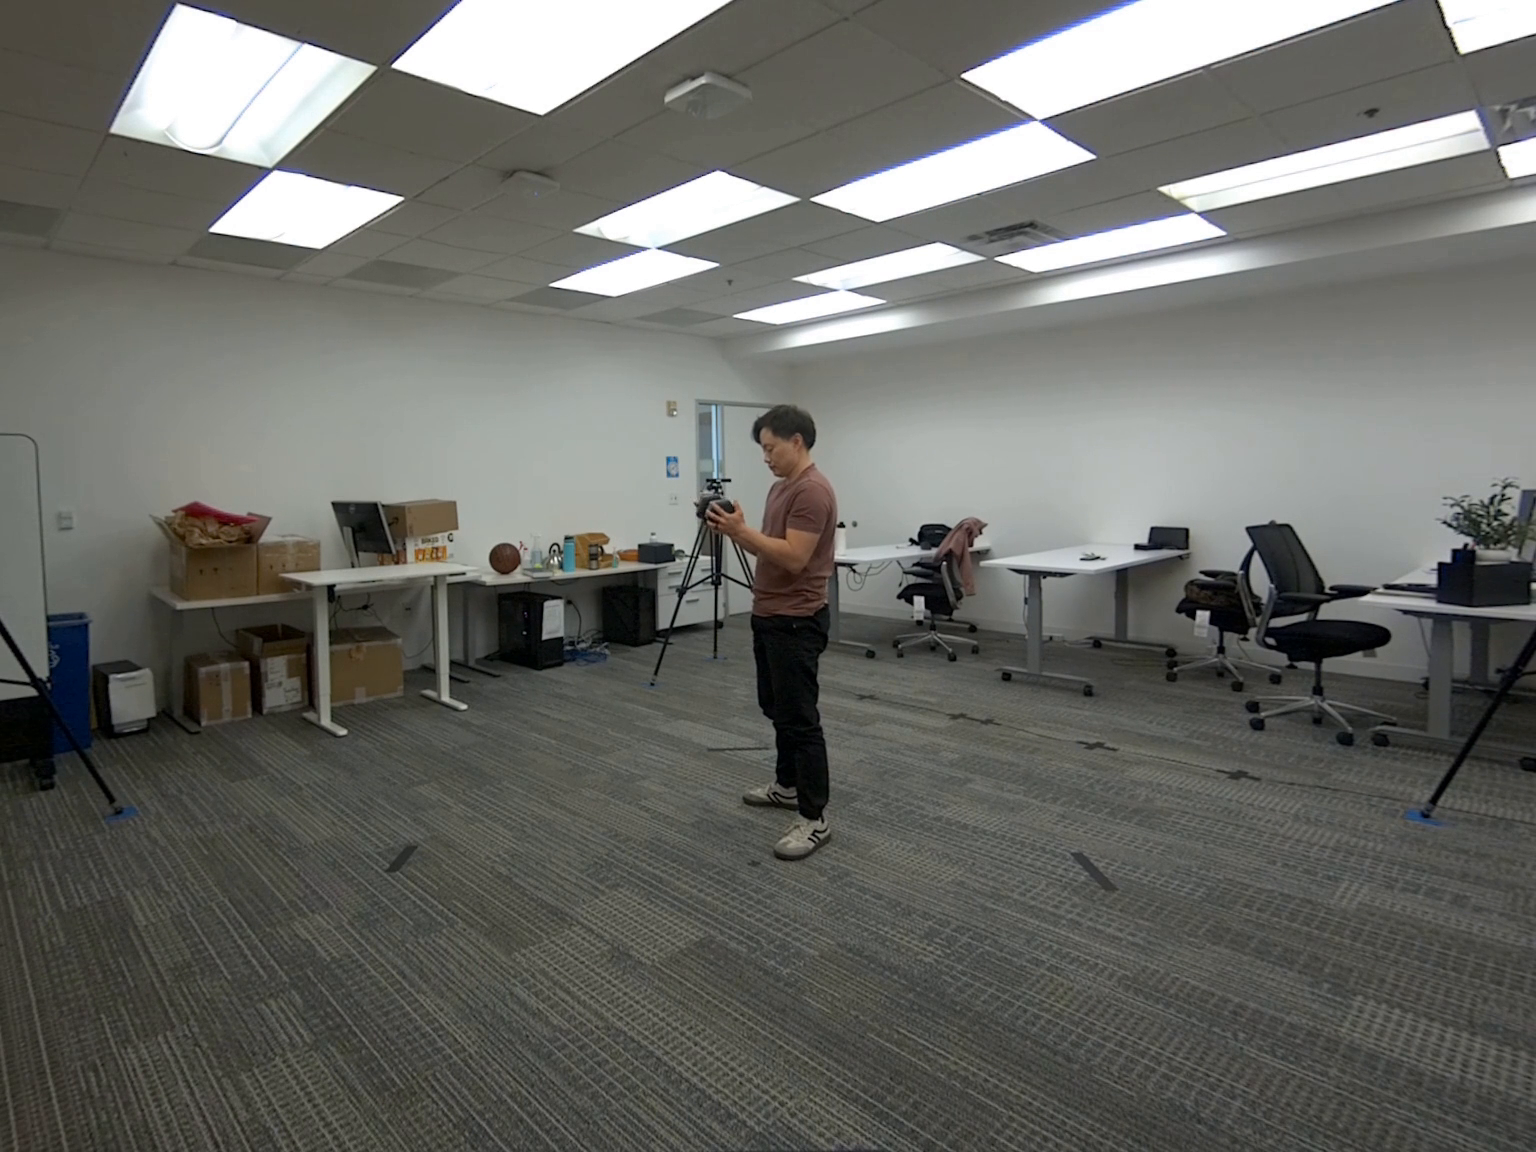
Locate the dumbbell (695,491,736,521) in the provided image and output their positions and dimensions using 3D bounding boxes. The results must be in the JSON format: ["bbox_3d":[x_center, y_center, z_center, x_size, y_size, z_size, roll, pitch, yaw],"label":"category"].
[{"bbox_3d":[-0.185,-0.245,3.328,0.122,0.107,0.298,-10,12,-7],"label":"dumbbell"}]
